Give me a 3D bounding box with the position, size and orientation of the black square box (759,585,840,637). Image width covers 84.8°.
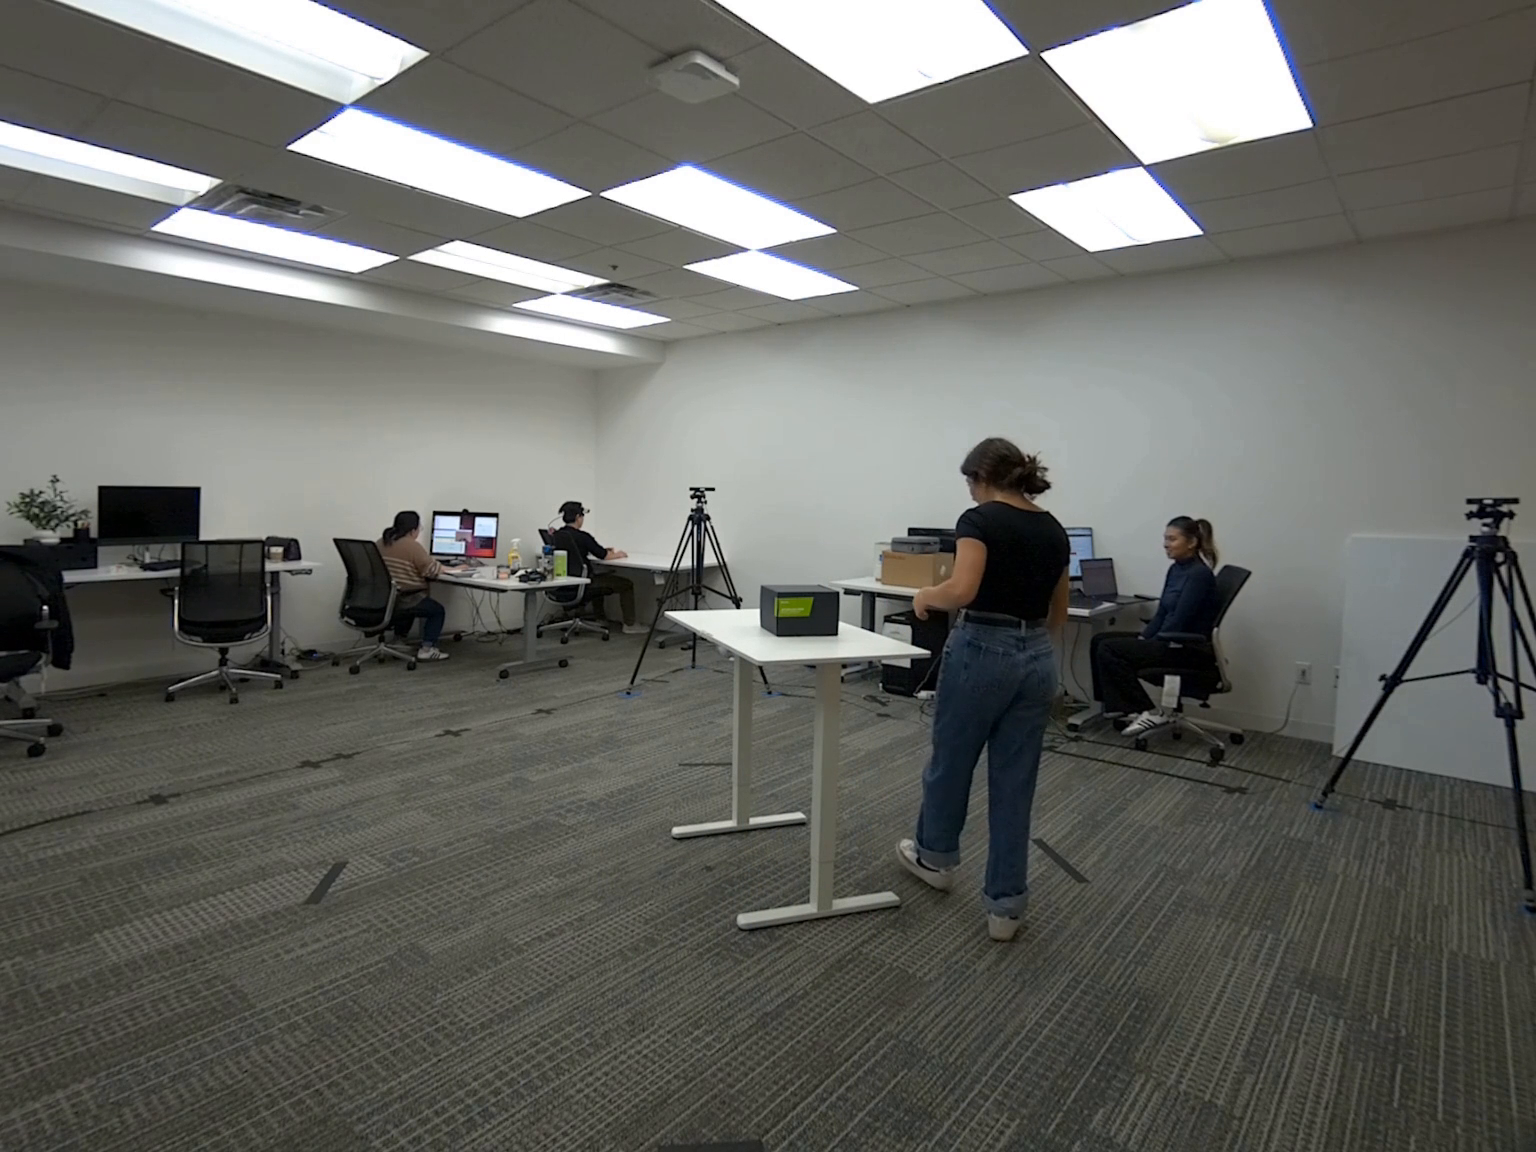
[{"bbox_3d":[0.101,0.112,3.048,0.225,0.155,0.221,0,5,-13],"label":"black square box"}]
